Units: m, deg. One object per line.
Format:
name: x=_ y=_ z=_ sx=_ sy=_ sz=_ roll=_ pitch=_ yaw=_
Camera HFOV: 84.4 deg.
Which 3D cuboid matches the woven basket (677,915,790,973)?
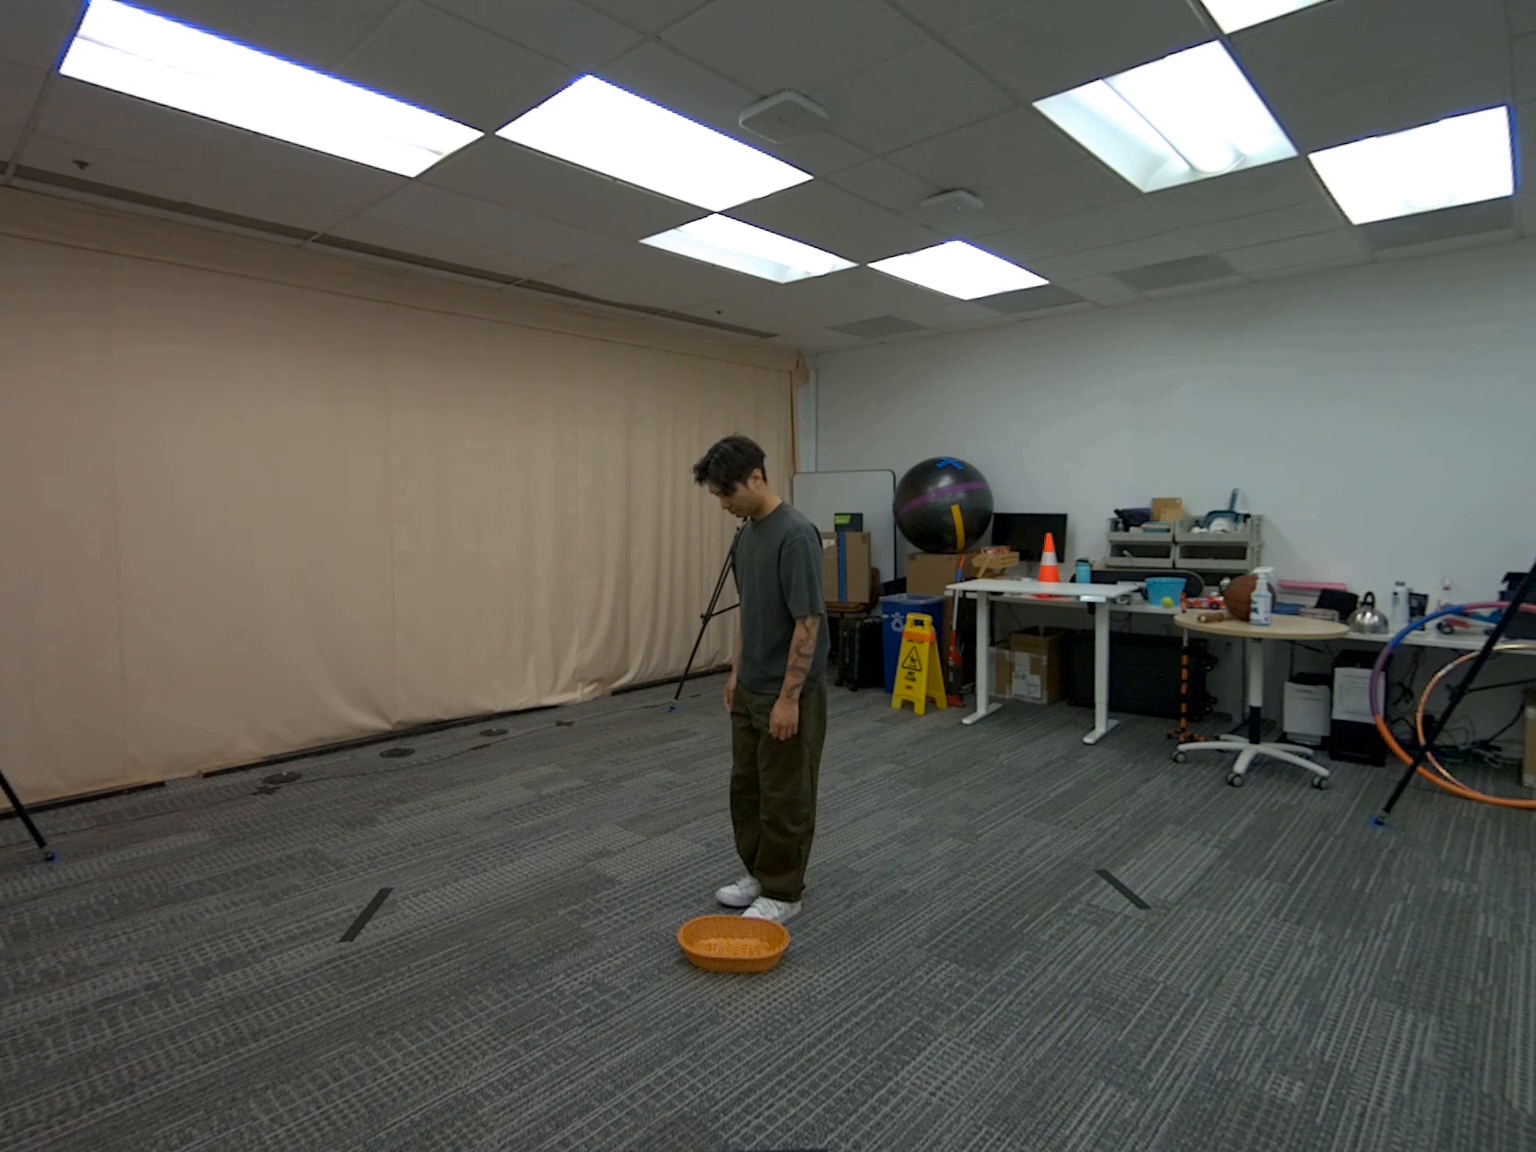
woven basket: x=-0.106 y=1.138 z=2.593 sx=0.353 sy=0.073 sz=0.251 roll=1 pitch=5 yaw=6
